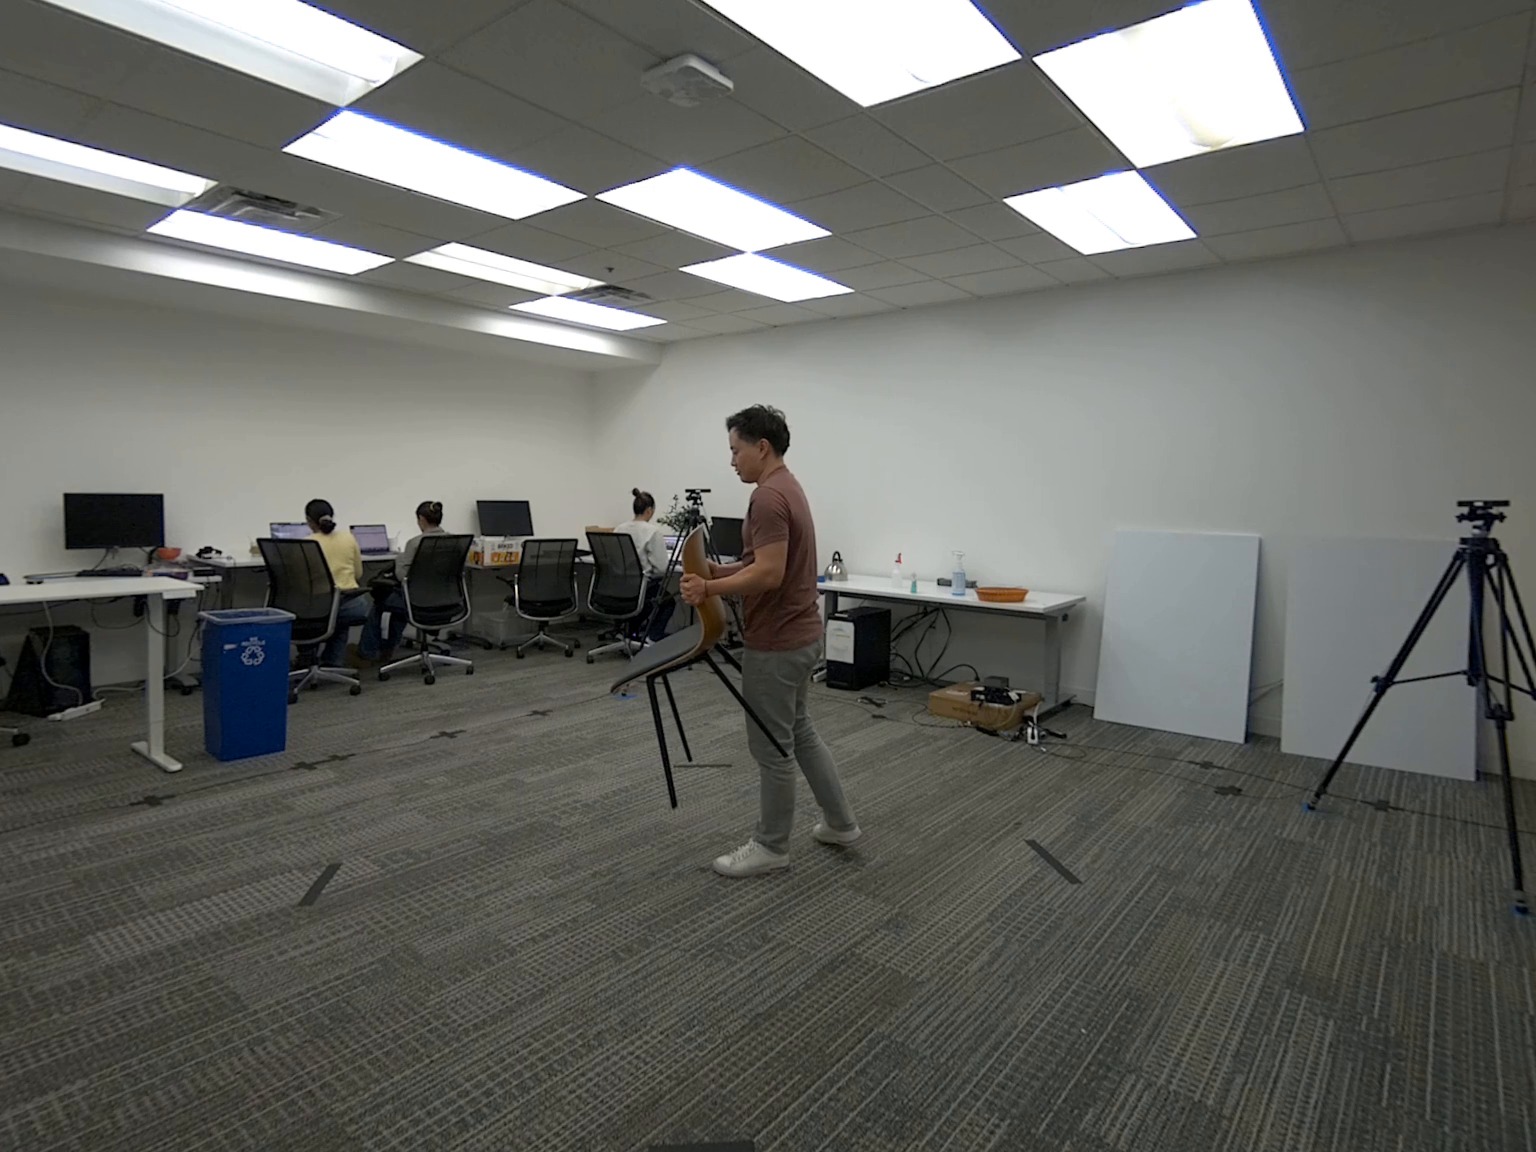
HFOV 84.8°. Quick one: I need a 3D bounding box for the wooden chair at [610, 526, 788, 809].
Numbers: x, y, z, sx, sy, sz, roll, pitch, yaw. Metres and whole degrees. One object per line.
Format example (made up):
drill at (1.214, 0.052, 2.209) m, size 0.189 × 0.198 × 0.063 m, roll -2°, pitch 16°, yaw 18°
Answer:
wooden chair at (-0.333, 0.309, 3.160) m, size 0.525 × 0.872 × 0.479 m, roll -21°, pitch 5°, yaw 6°
